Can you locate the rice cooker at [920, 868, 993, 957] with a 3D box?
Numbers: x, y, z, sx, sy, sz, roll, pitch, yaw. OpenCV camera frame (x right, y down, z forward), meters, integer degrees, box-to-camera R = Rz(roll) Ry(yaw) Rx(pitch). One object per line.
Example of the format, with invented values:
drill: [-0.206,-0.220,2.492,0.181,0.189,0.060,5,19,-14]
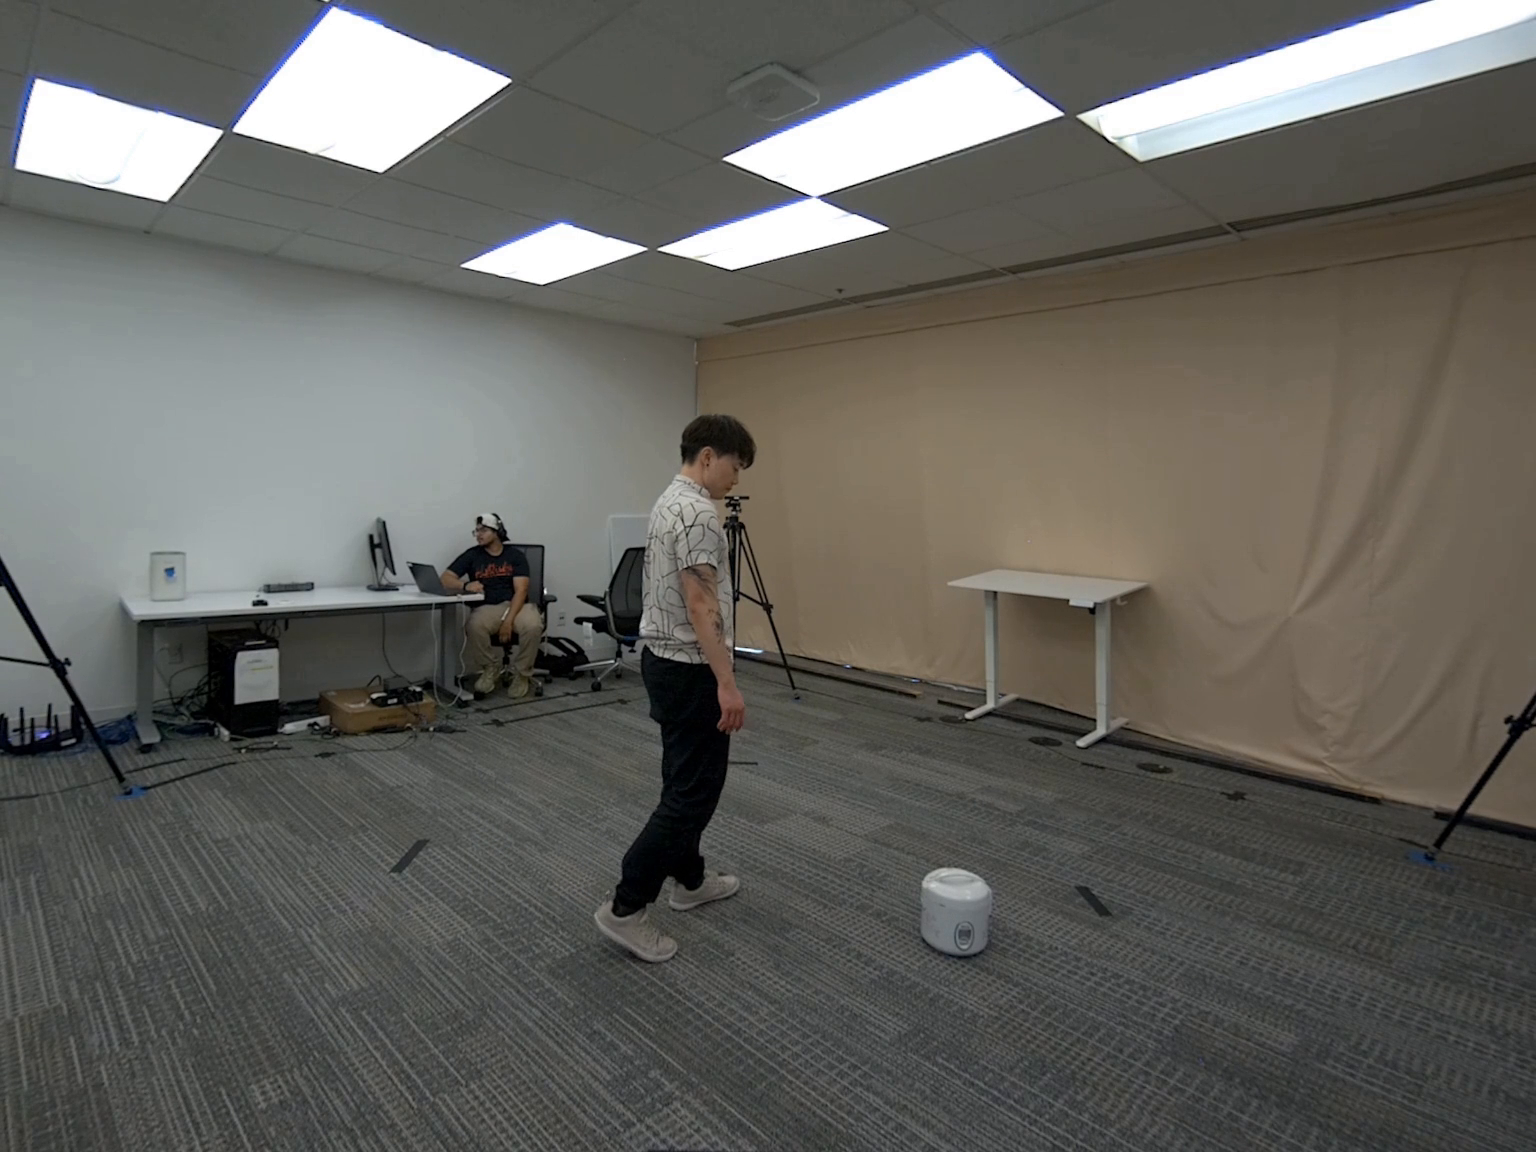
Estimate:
rice cooker: [0.586,1.045,2.660,0.220,0.232,0.218,0,4,-3]
